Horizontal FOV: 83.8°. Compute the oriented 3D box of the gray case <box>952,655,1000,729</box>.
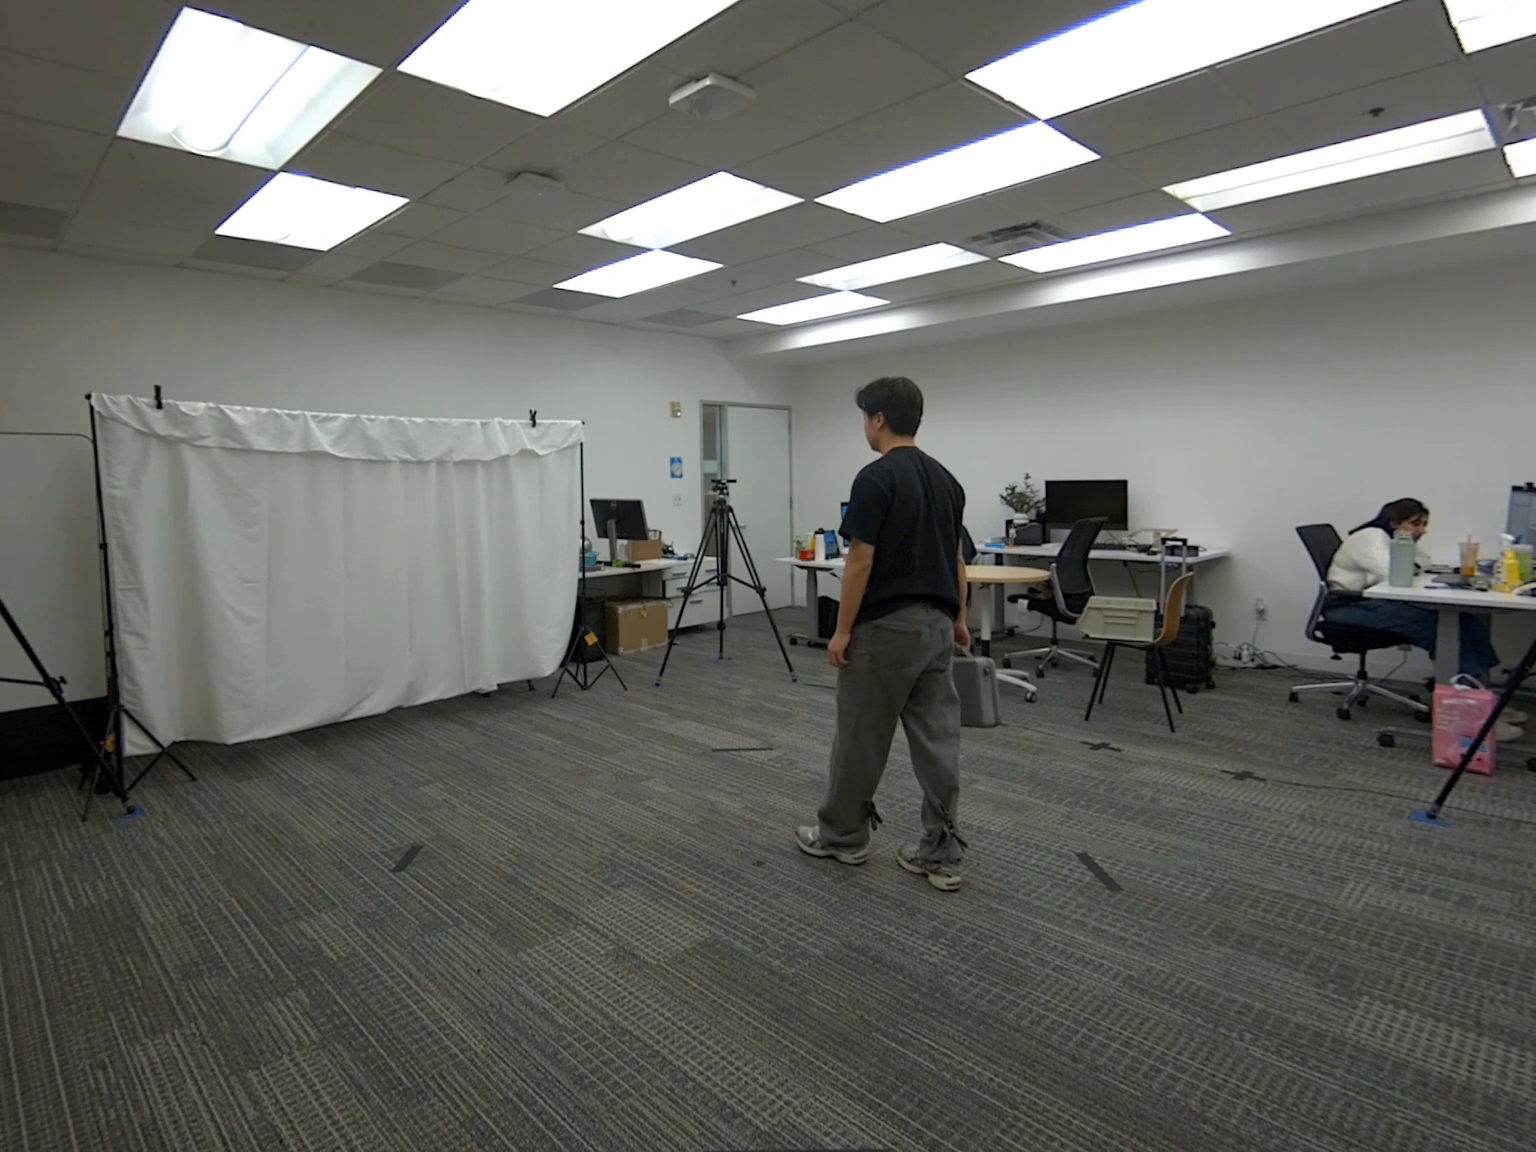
[{"bbox_3d":[0.726,0.417,3.193,0.100,0.289,0.268,-2,-7,-32],"label":"gray case"}]
